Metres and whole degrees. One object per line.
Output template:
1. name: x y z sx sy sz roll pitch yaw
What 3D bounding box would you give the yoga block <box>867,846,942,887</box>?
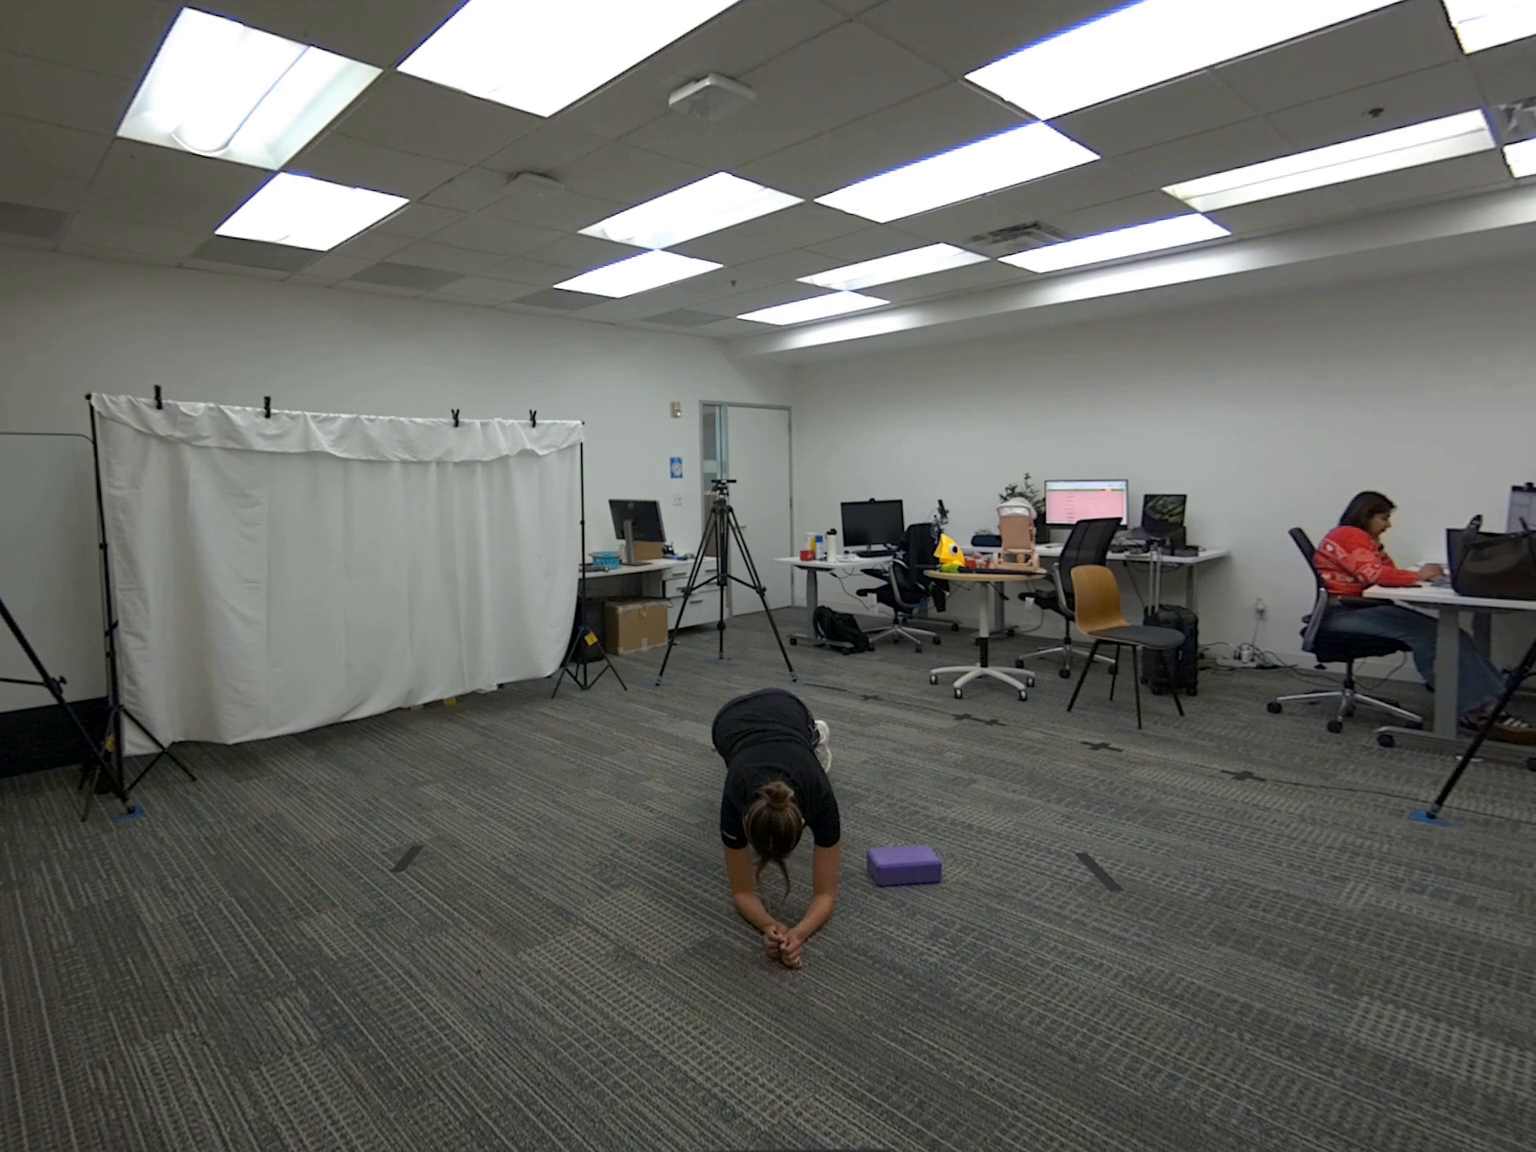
1. yoga block: 0.481 1.005 2.986 0.228 0.076 0.151 -4 6 -8
